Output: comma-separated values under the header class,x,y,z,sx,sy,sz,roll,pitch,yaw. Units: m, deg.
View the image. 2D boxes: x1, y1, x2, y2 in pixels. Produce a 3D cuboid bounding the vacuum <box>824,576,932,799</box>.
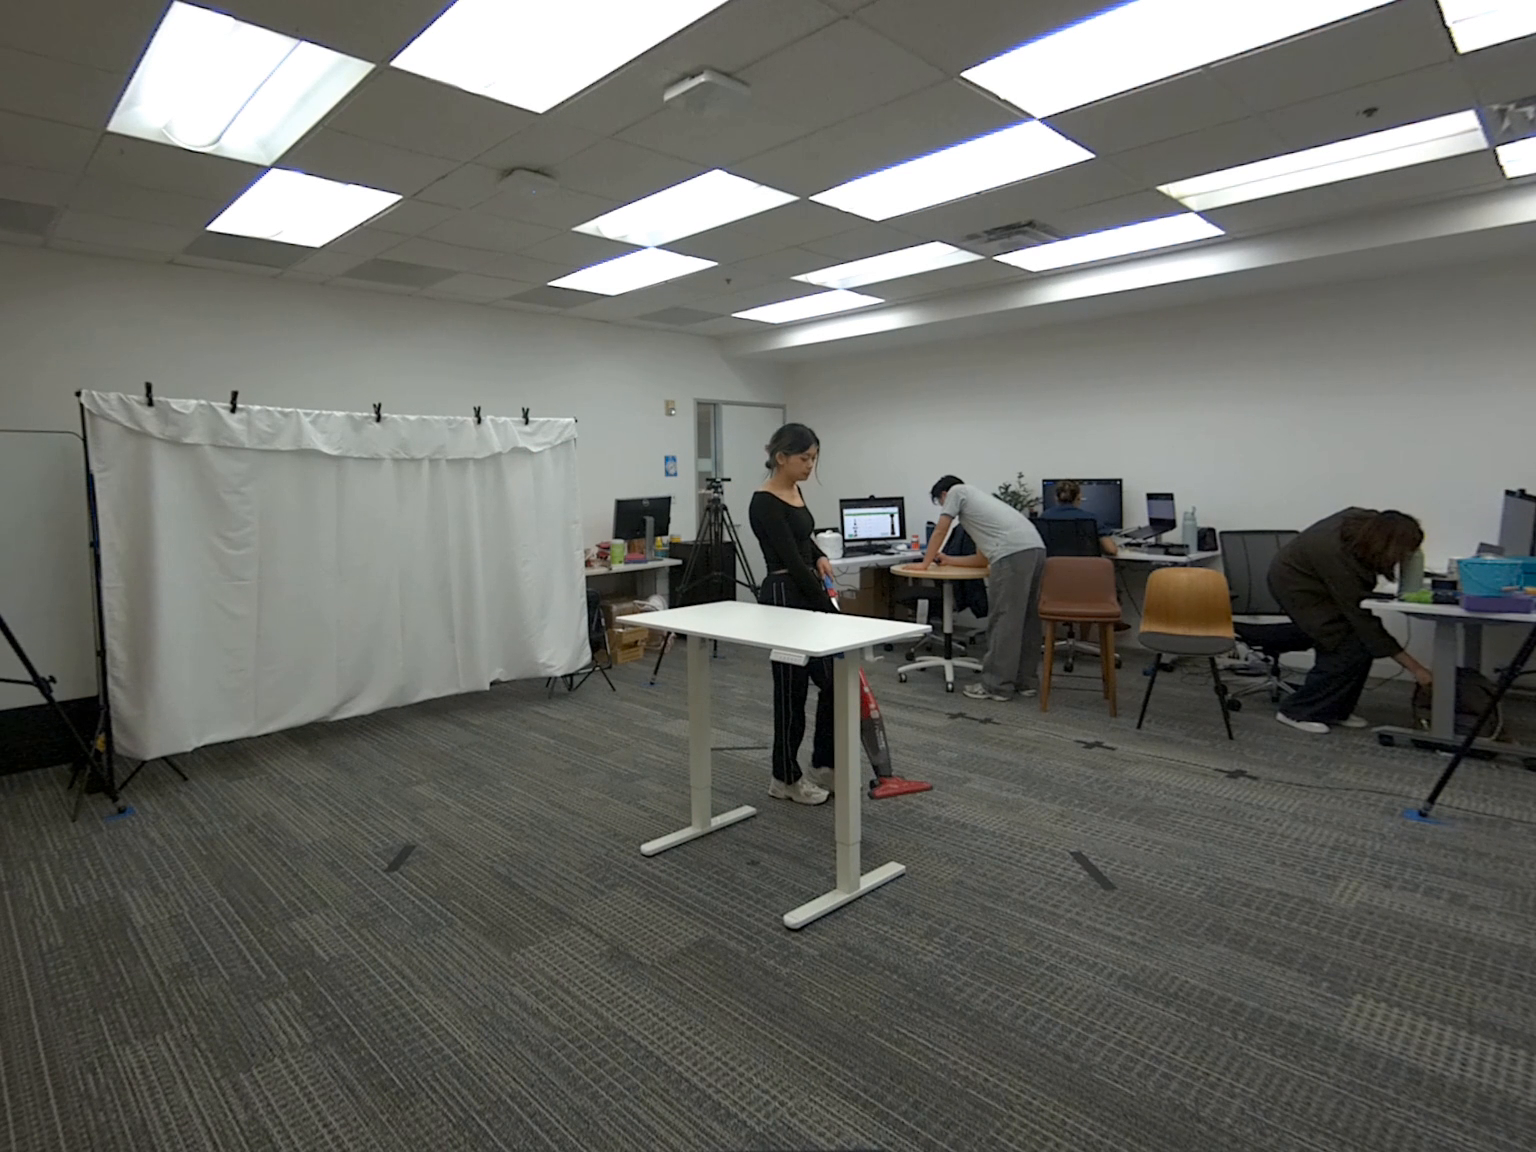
class,x,y,z,sx,sy,sz,roll,pitch,yaw
vacuum,0.355,0.373,3.467,0.248,1.081,0.142,-2,-33,-21
